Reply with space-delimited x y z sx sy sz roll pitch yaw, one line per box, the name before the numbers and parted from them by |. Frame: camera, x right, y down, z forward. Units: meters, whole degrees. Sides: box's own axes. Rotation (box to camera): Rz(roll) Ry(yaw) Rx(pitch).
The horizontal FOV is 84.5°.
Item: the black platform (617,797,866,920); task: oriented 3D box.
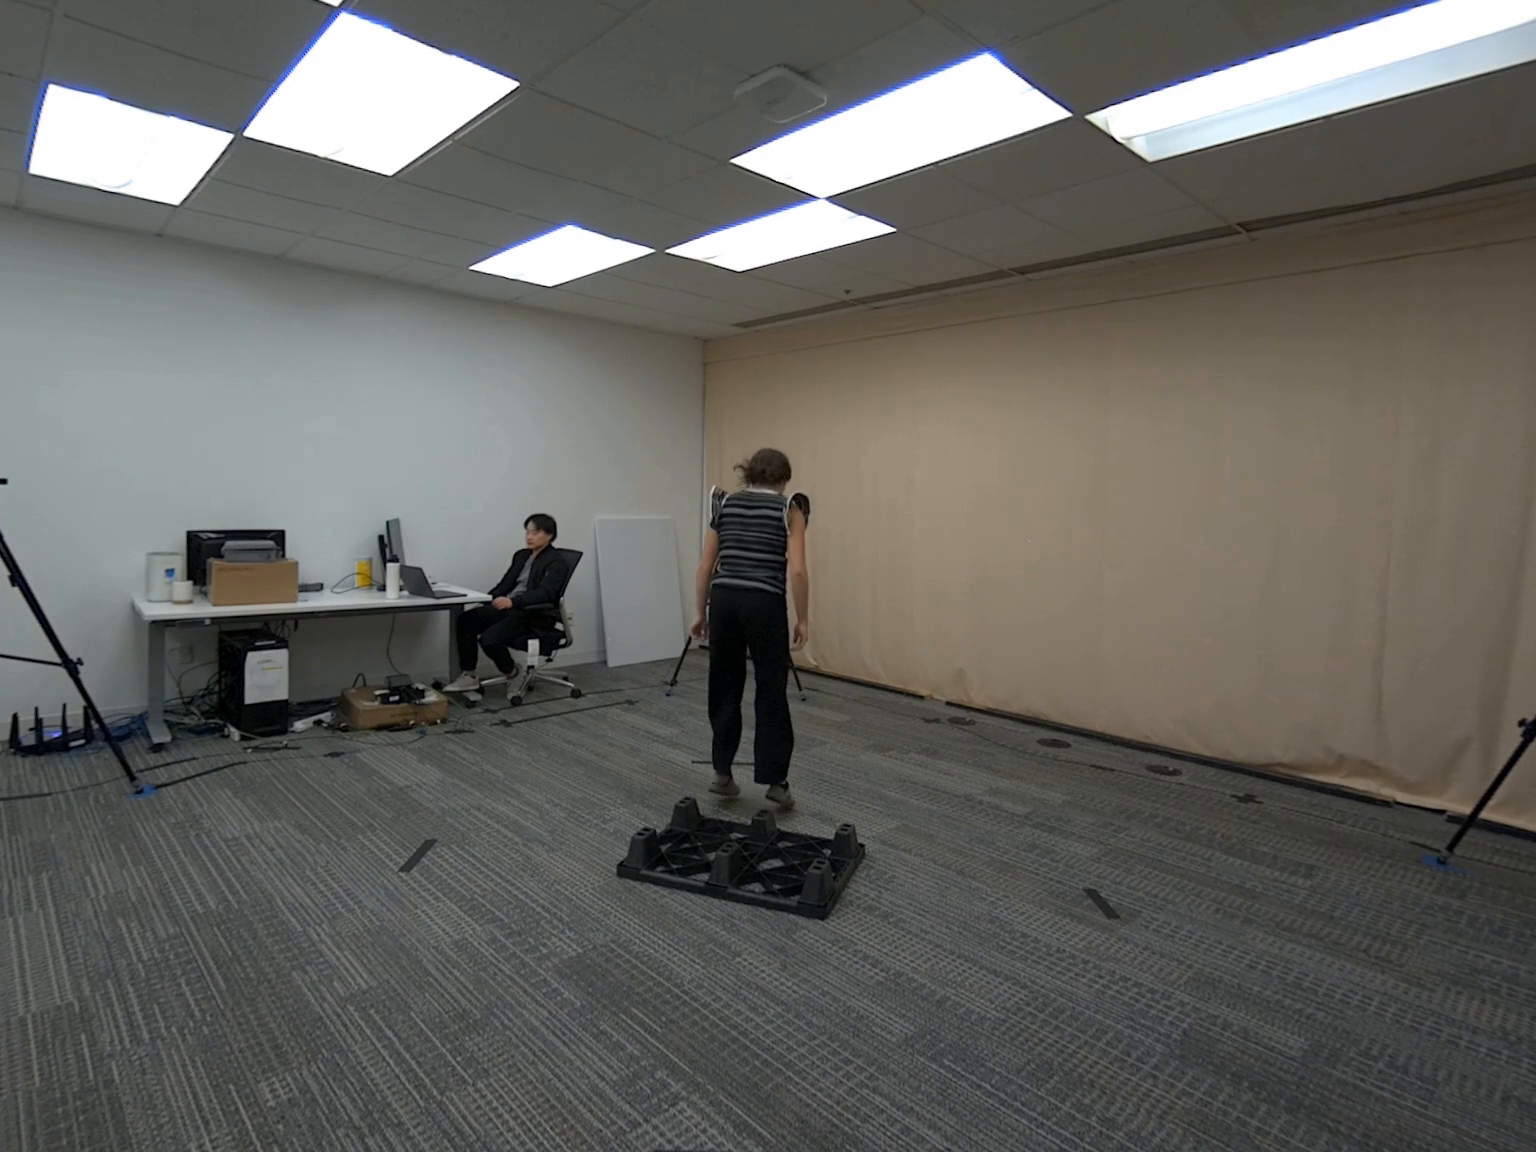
black platform | -0.097 1.032 3.200 0.819 0.143 0.596 3 5 21
